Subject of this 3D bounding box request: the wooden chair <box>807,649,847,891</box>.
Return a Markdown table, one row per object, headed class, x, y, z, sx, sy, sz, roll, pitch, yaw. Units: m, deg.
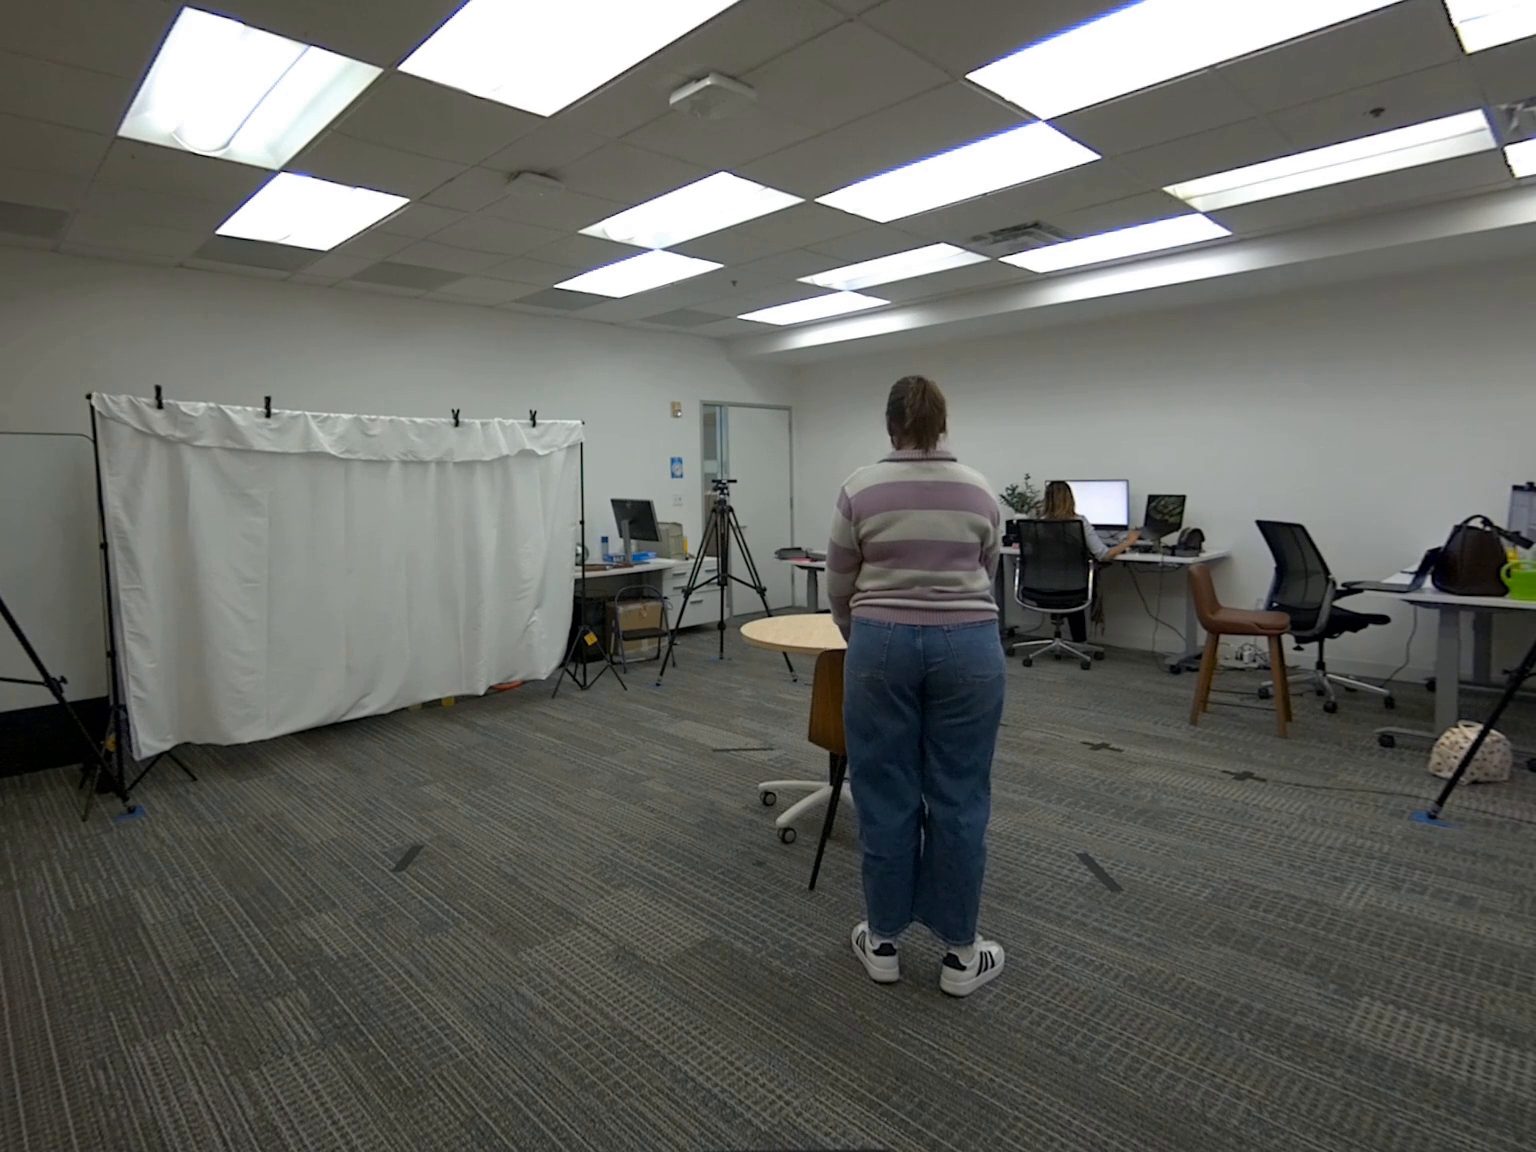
| class | x | y | z | sx | sy | sz | roll | pitch | yaw |
| --- | --- | --- | --- | --- | --- | --- | --- | --- | --- |
| wooden chair | 0.398 | 0.623 | 3.033 | 0.485 | 0.871 | 0.519 | 0 | 8 | 14 |
